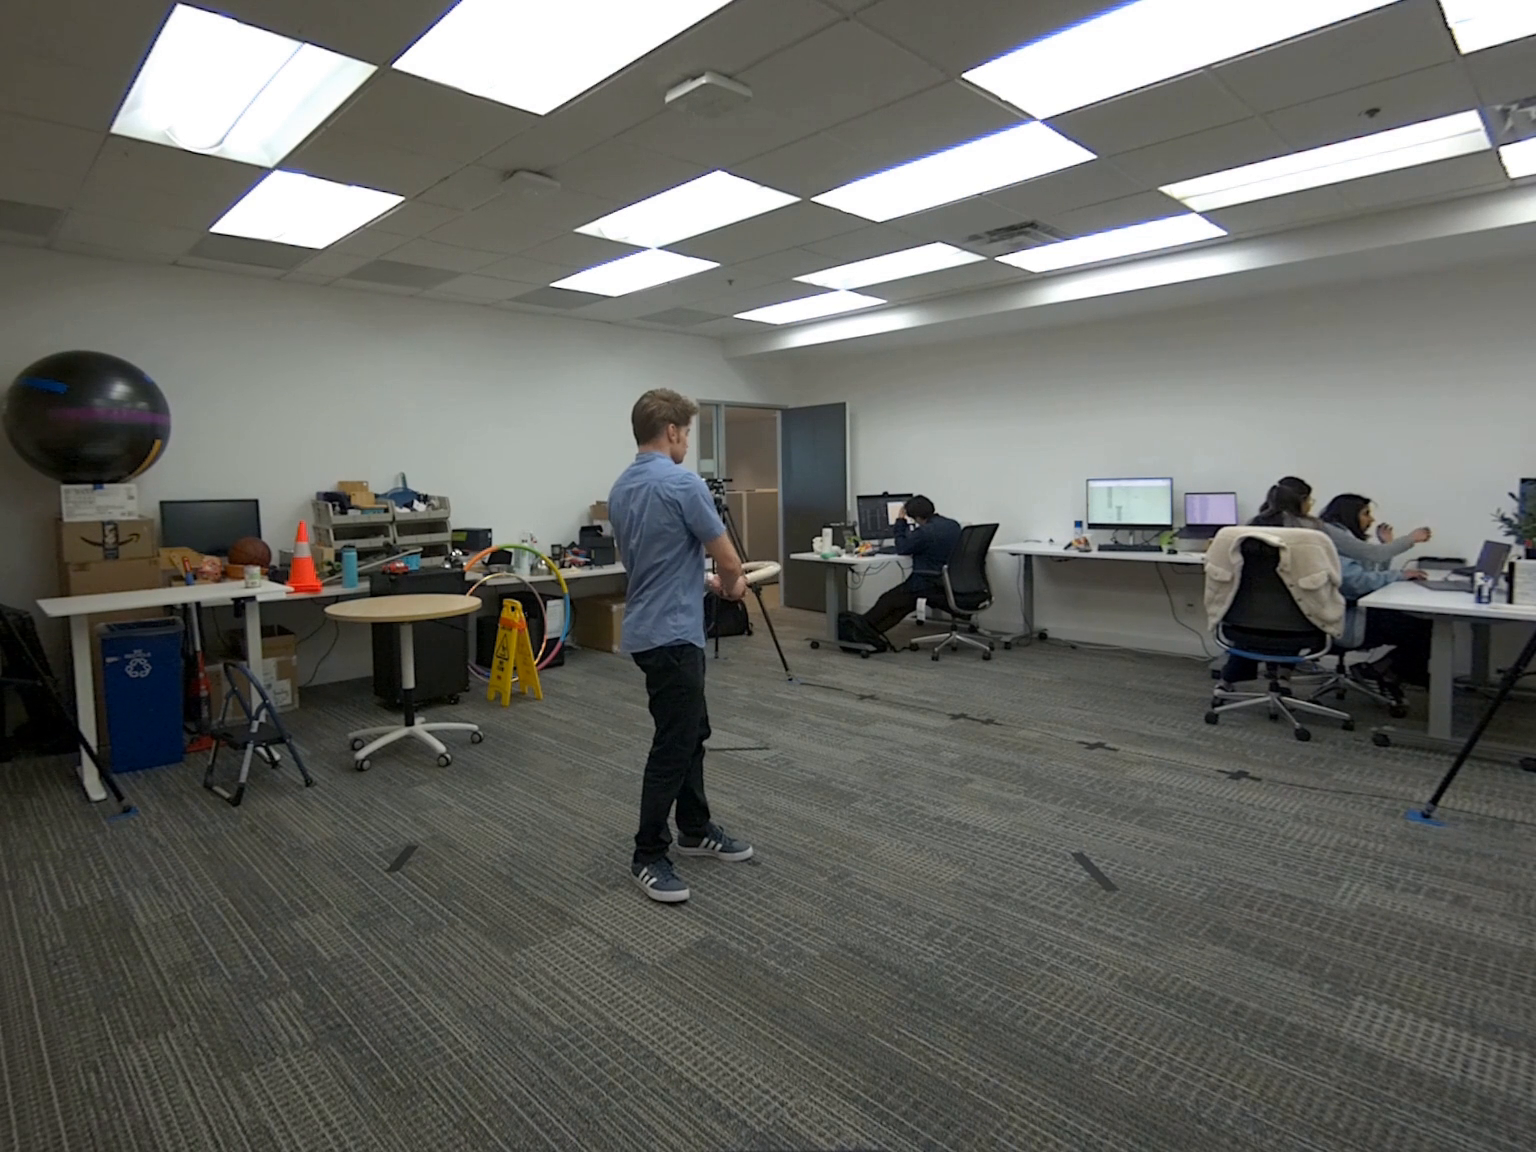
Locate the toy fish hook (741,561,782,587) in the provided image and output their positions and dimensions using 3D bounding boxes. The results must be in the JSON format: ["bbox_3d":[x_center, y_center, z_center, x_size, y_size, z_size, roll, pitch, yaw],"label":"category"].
[{"bbox_3d":[-0.135,0.012,3.408,0.230,0.048,0.498,-2,10,29],"label":"toy fish hook"}]
